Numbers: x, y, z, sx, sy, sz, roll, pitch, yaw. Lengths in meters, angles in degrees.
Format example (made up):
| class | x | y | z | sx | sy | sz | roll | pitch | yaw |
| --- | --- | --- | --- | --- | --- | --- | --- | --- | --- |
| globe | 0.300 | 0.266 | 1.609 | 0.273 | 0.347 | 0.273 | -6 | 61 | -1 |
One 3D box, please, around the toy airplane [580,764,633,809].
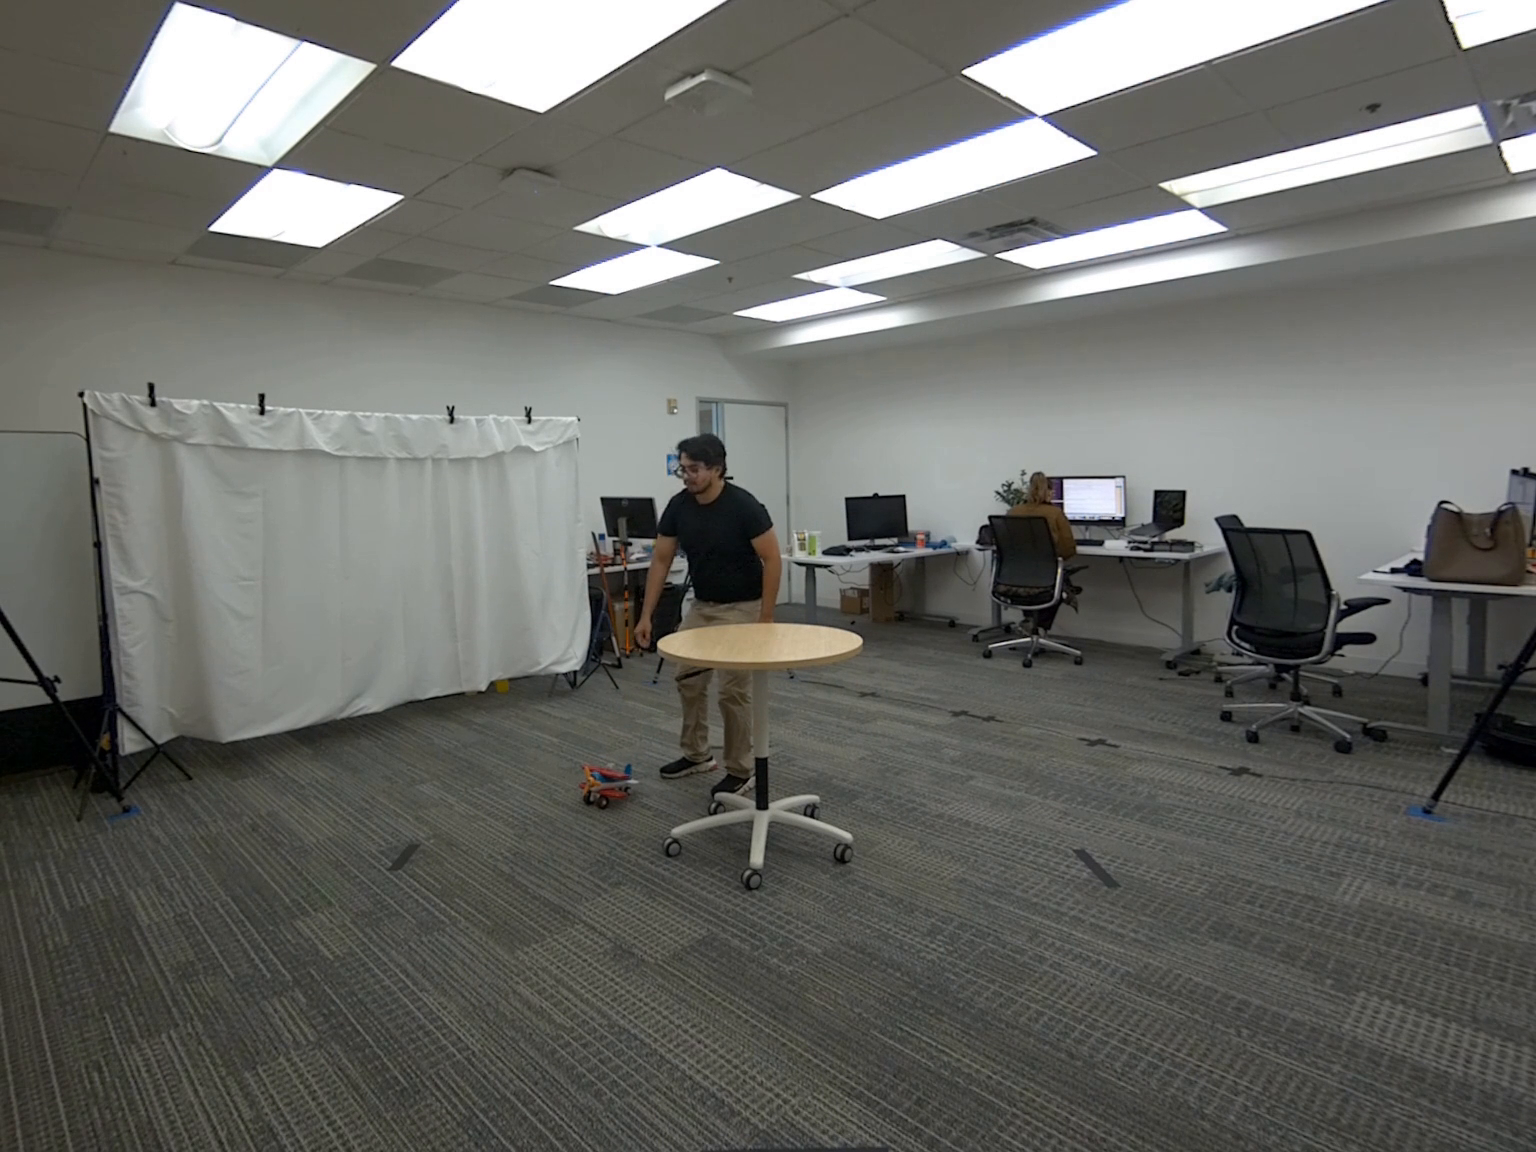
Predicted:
| class | x | y | z | sx | sy | sz | roll | pitch | yaw |
| --- | --- | --- | --- | --- | --- | --- | --- | --- | --- |
| toy airplane | -0.709 | 0.905 | 3.741 | 0.253 | 0.155 | 0.258 | -1 | 8 | 9 |
